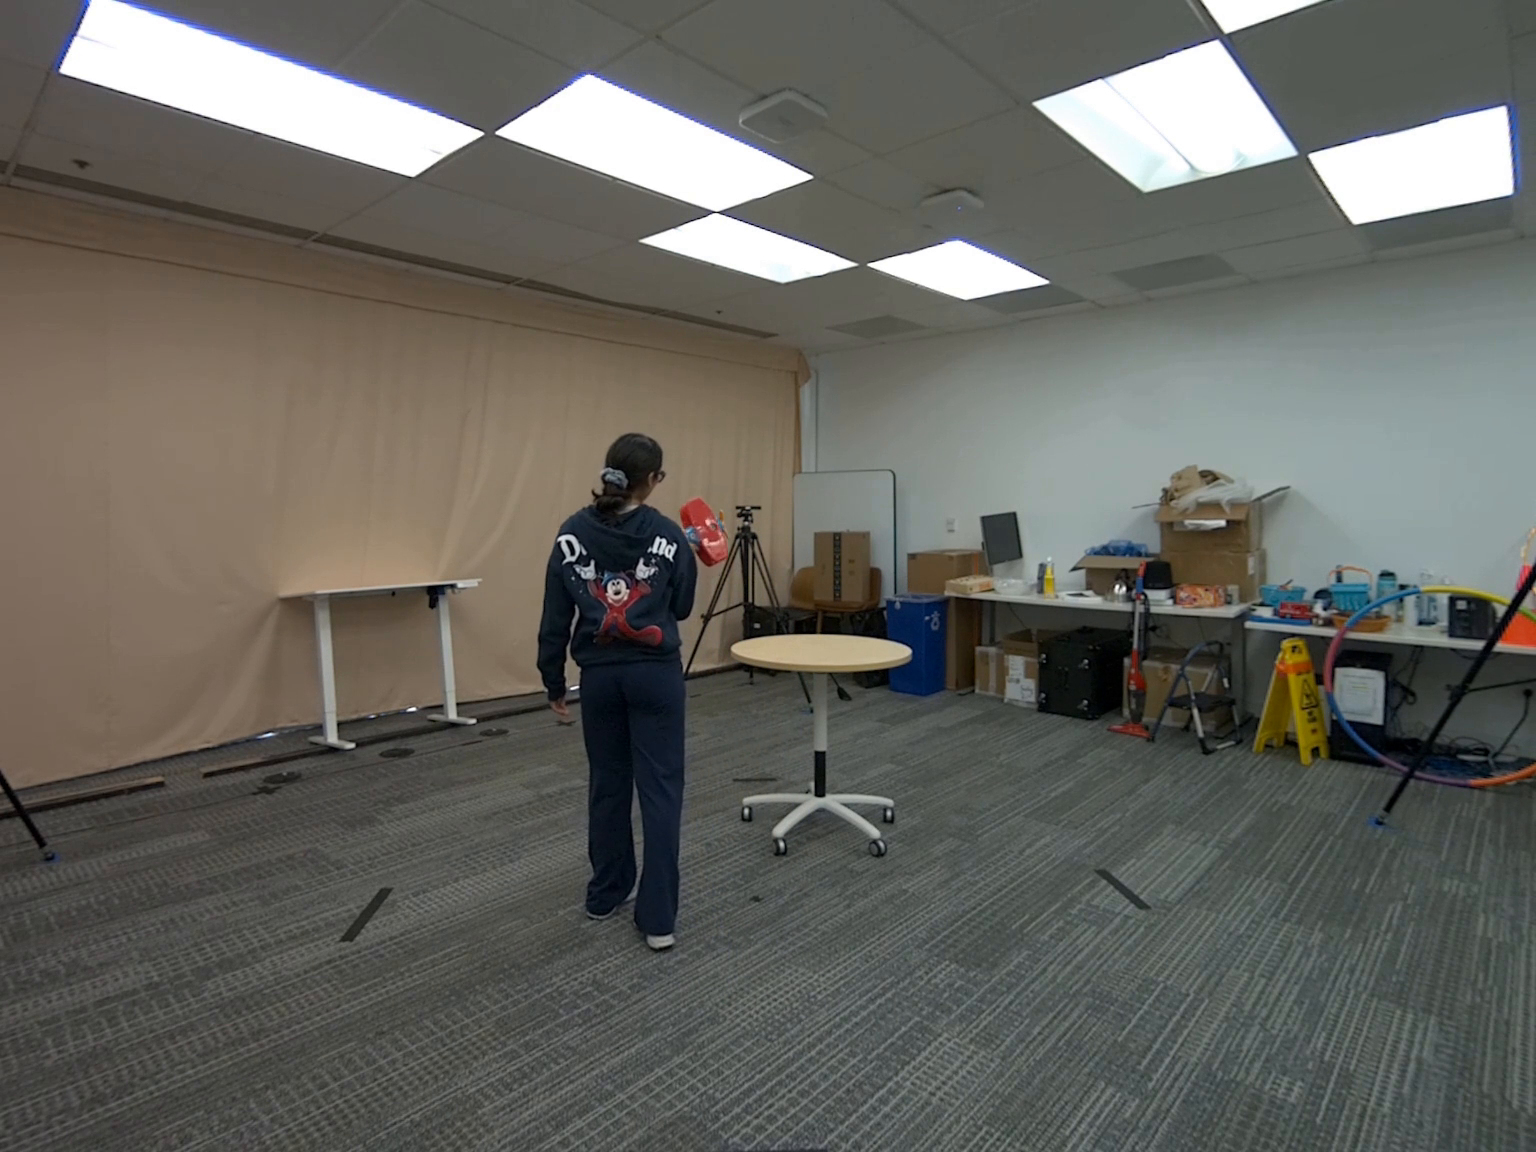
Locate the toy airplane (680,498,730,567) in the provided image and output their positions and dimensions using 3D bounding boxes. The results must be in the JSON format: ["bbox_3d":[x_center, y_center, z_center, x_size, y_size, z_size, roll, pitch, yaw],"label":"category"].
[{"bbox_3d":[-0.262,-0.128,3.165,0.246,0.259,0.159,40,-37,-16],"label":"toy airplane"}]
